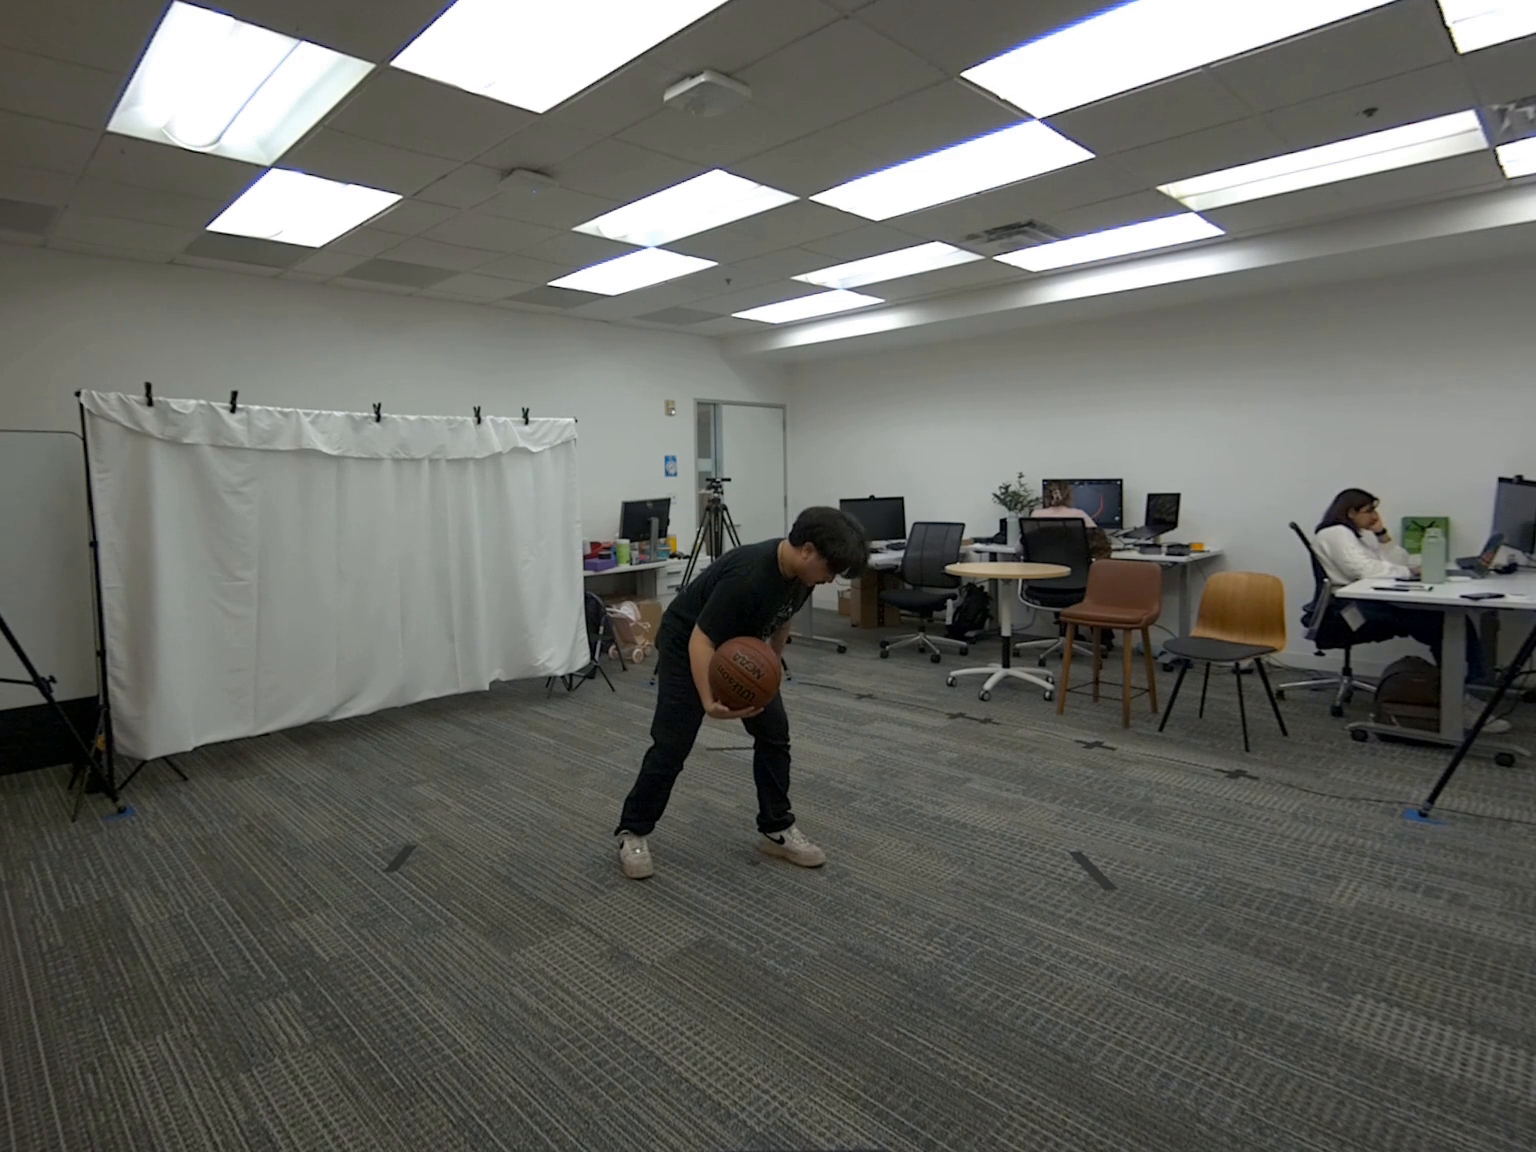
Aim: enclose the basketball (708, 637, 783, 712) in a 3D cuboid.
[{"bbox_3d":[-0.083,0.322,2.763,0.236,0.235,0.237,-1,5,-2],"label":"basketball"}]
